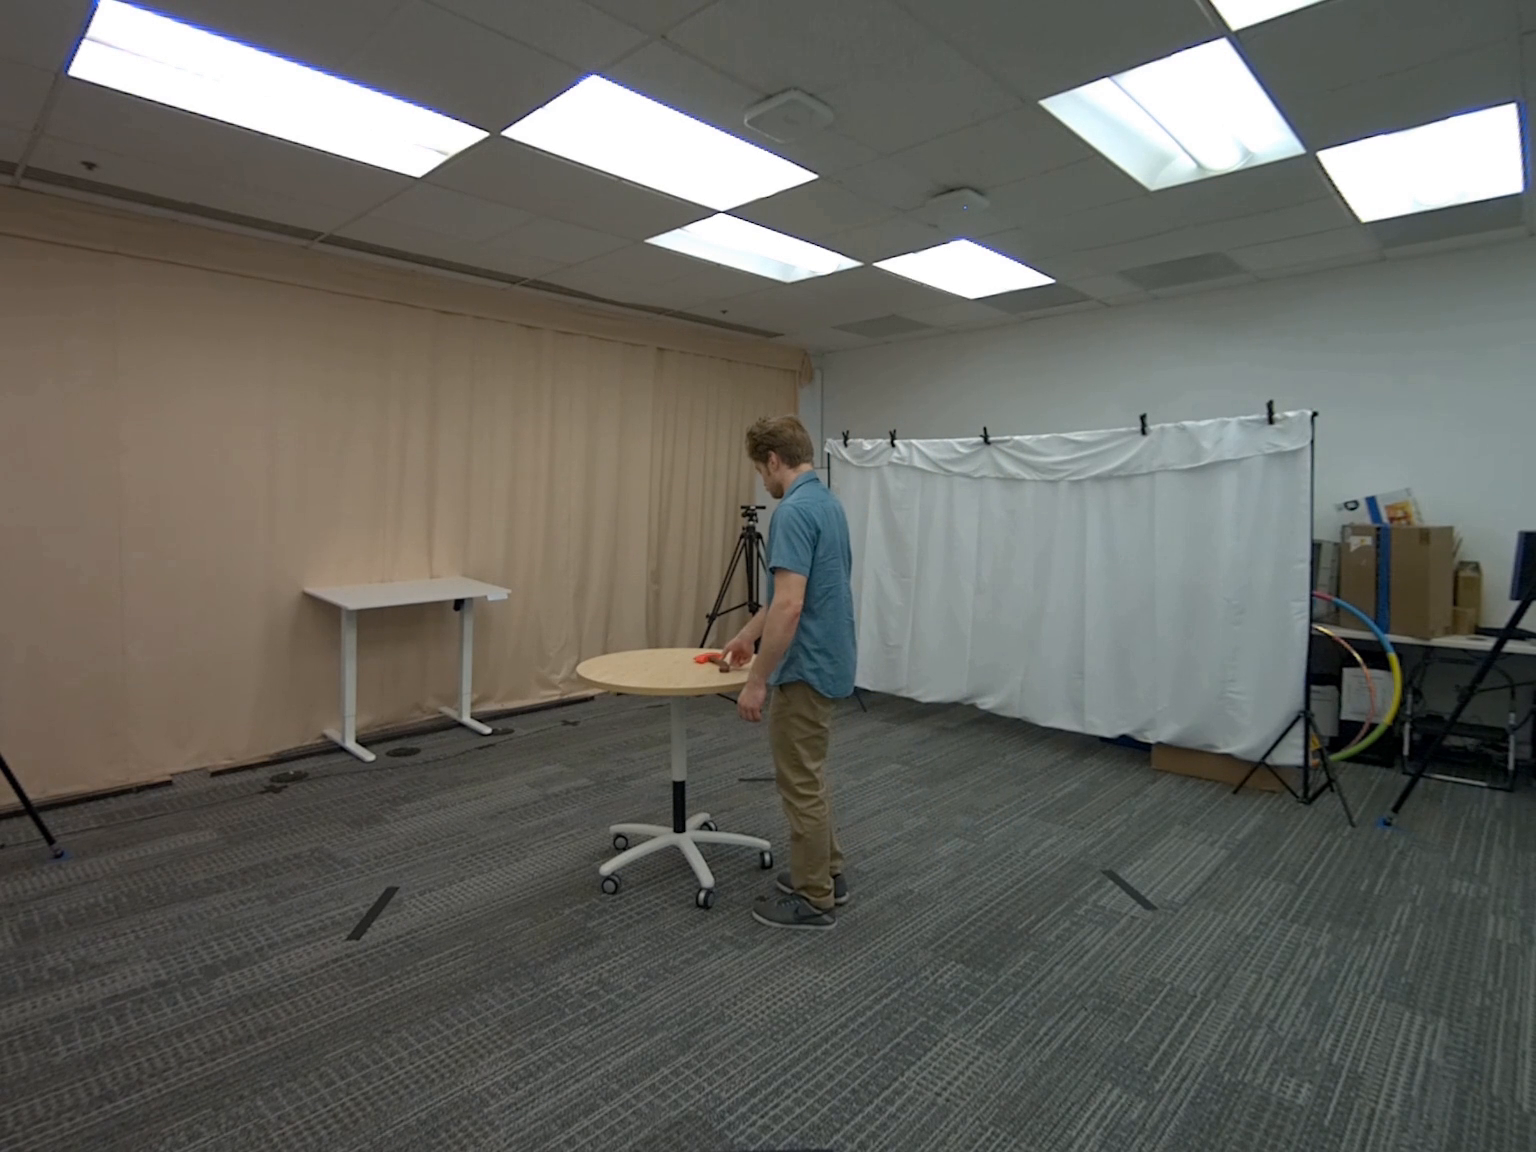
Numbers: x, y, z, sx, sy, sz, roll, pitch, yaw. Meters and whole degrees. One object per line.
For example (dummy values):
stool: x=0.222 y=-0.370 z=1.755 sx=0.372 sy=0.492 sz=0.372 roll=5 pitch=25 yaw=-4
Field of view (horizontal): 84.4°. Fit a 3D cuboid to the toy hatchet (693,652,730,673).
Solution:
toy hatchet: x=-0.214 y=0.329 z=3.203 sx=0.130 sy=0.029 sz=0.272 roll=1 pitch=6 yaw=-6
